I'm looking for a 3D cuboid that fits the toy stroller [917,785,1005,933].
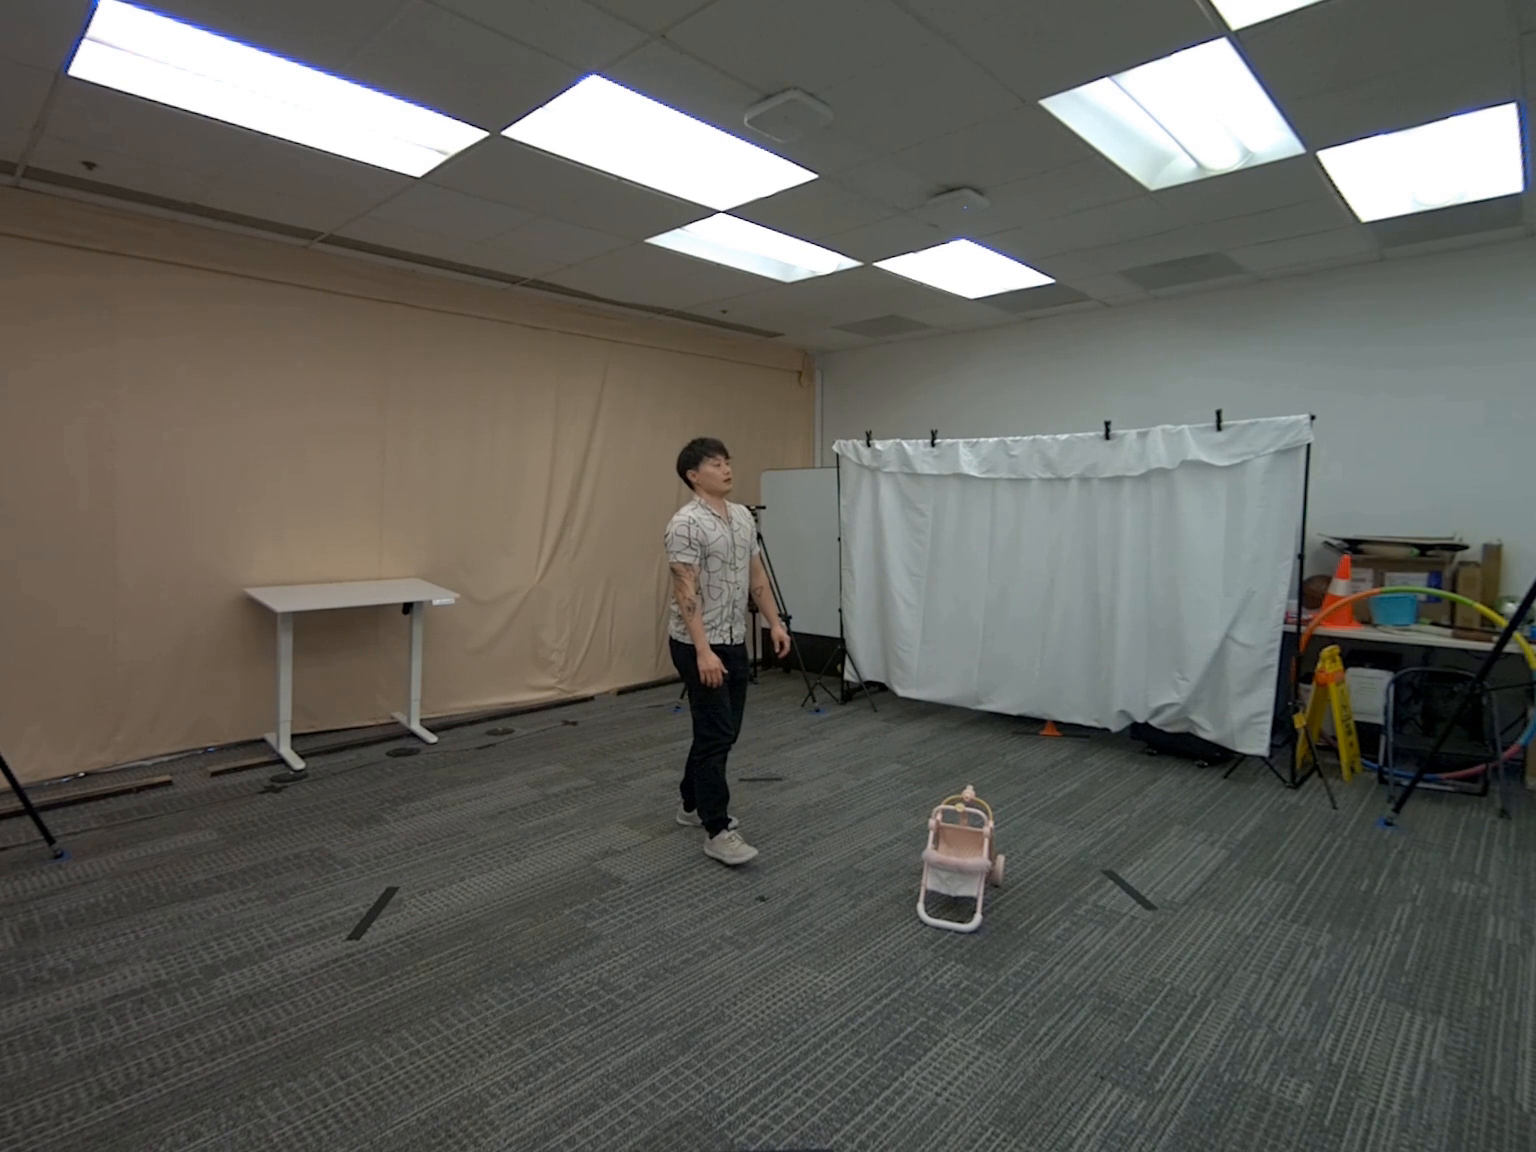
[{"bbox_3d":[0.691,0.979,2.991,0.288,0.340,0.523,6,5,22],"label":"toy stroller"}]
